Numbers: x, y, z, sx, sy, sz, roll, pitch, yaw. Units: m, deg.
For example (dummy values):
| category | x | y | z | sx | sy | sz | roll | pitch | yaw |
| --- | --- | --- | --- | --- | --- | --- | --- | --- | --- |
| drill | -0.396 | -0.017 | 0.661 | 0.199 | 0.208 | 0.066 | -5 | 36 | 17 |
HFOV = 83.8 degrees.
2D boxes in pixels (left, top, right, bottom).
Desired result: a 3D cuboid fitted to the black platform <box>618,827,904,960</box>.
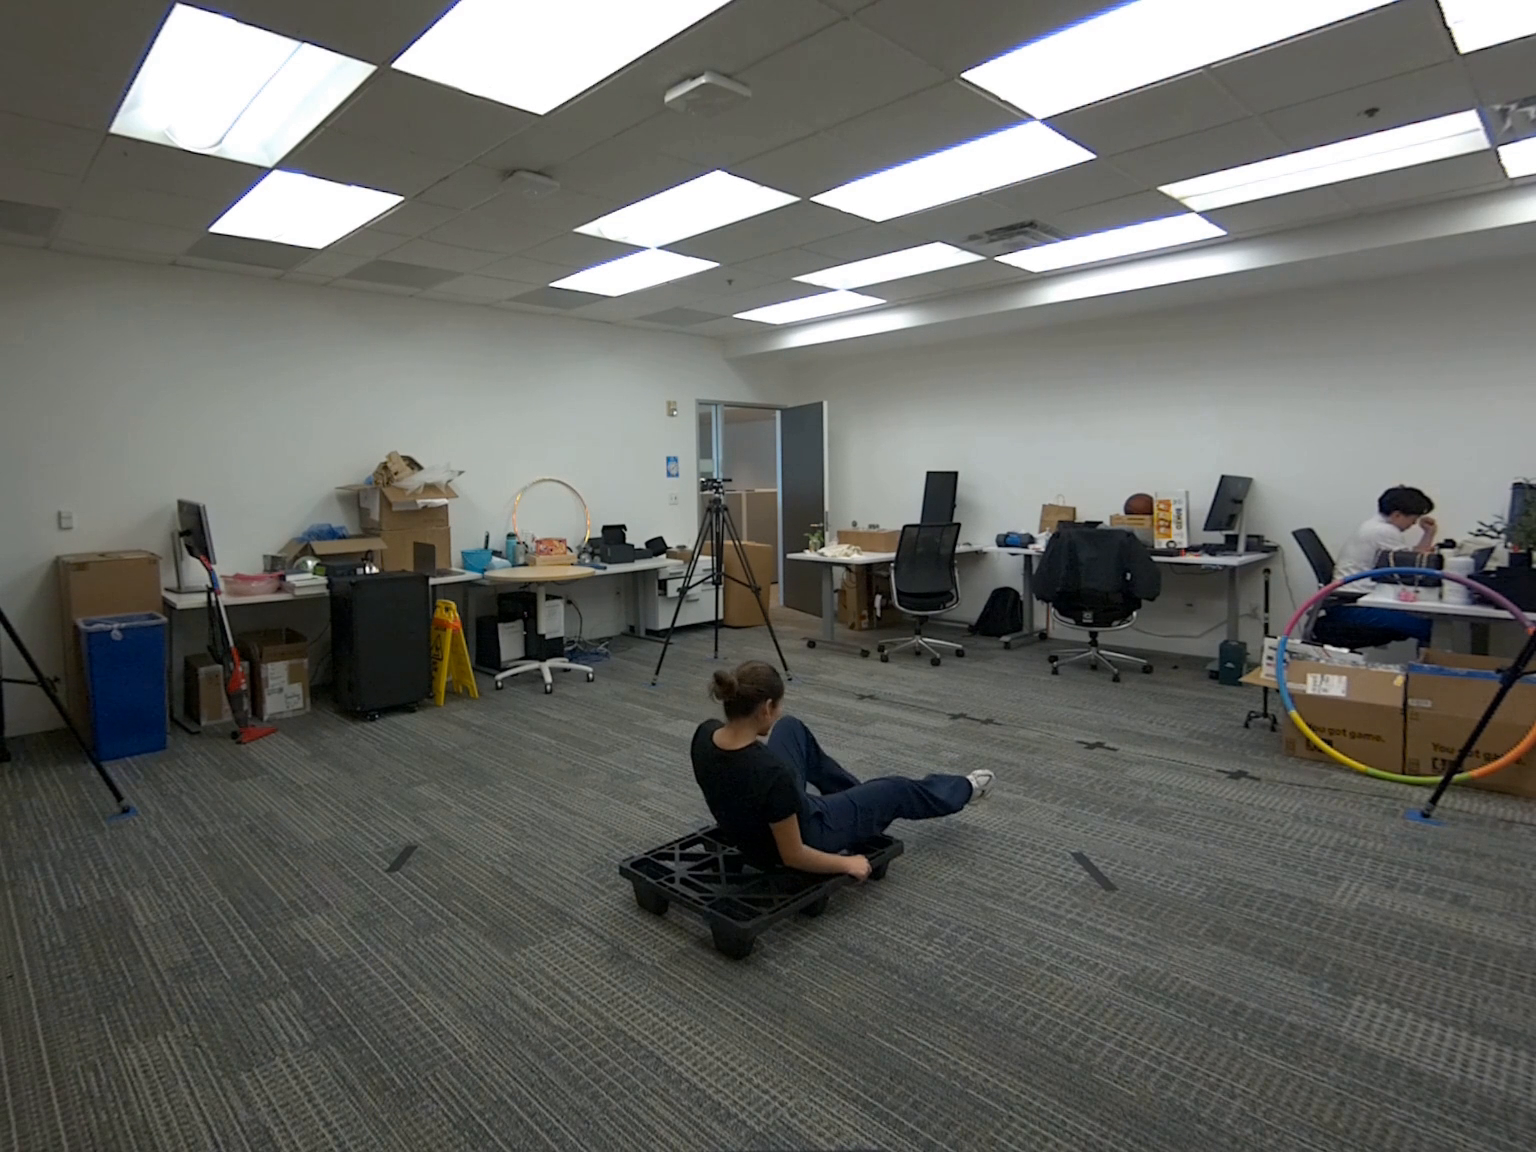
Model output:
| category | x | y | z | sx | sy | sz | roll | pitch | yaw |
| --- | --- | --- | --- | --- | --- | --- | --- | --- | --- |
| black platform | -0.008 | 1.000 | 2.906 | 0.624 | 0.142 | 0.785 | 6 | 10 | 44 |
